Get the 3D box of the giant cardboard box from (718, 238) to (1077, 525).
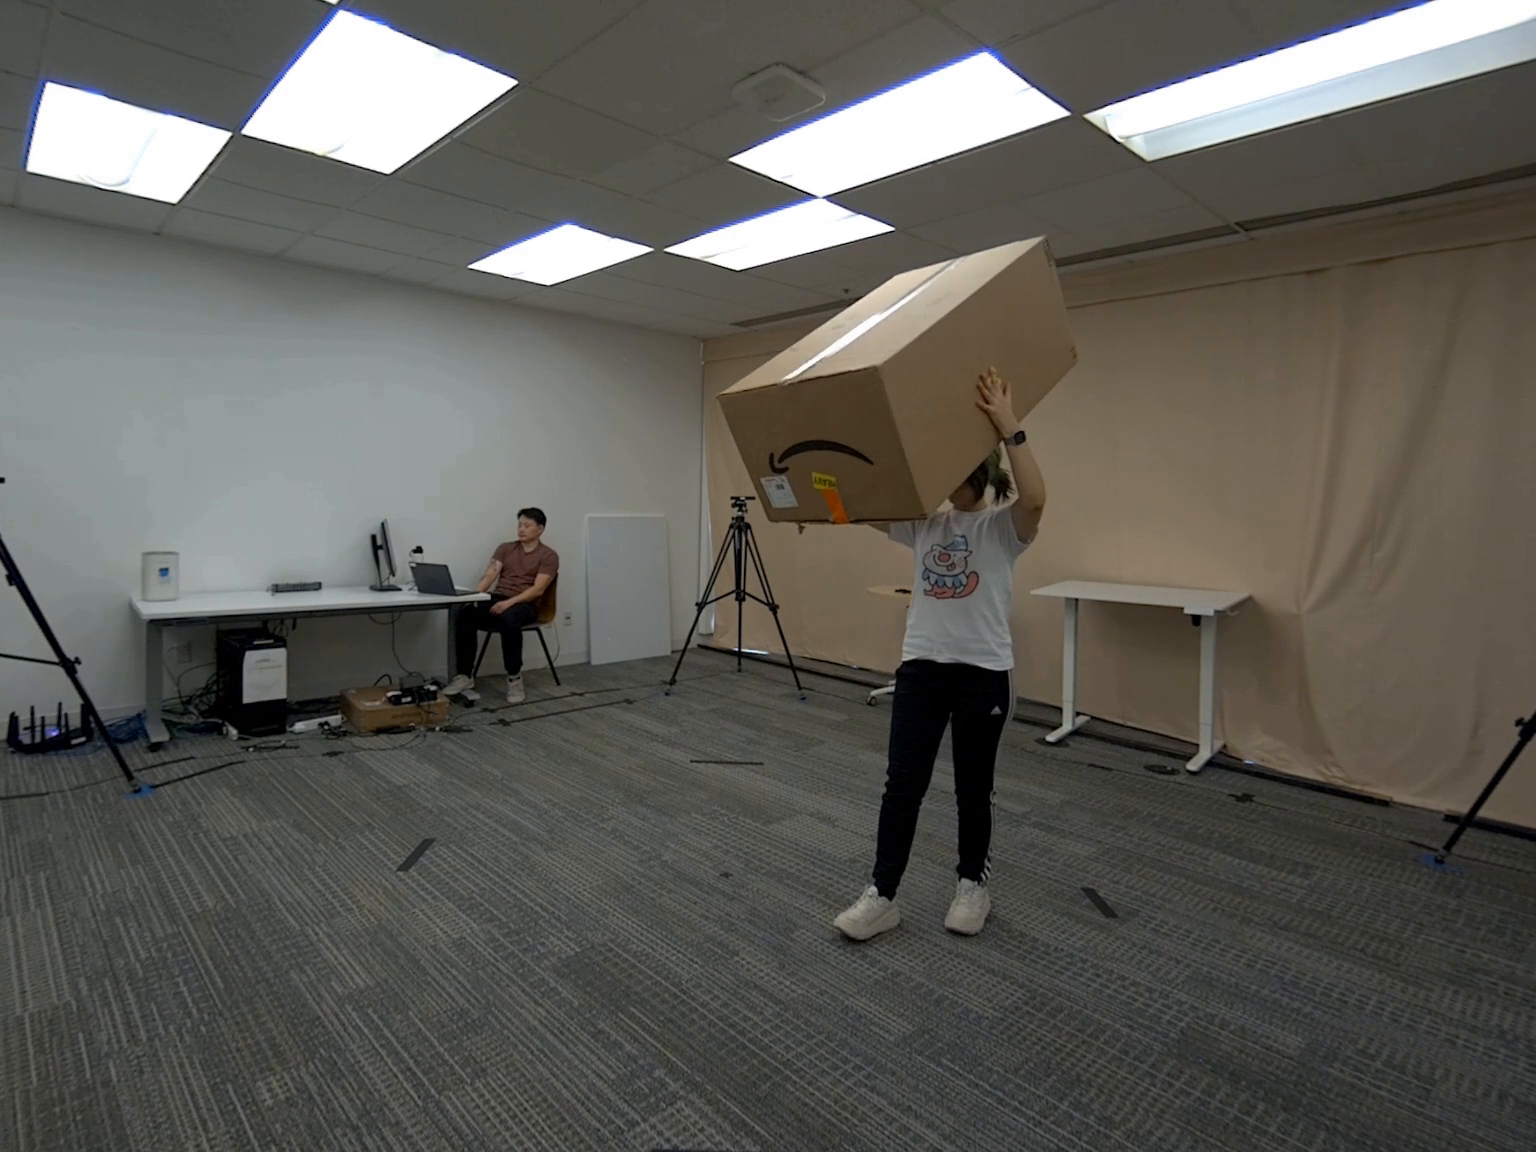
[{"bbox_3d":[0.423,-0.598,2.577,0.598,0.437,1.024,3,36,44],"label":"giant cardboard box"}]
